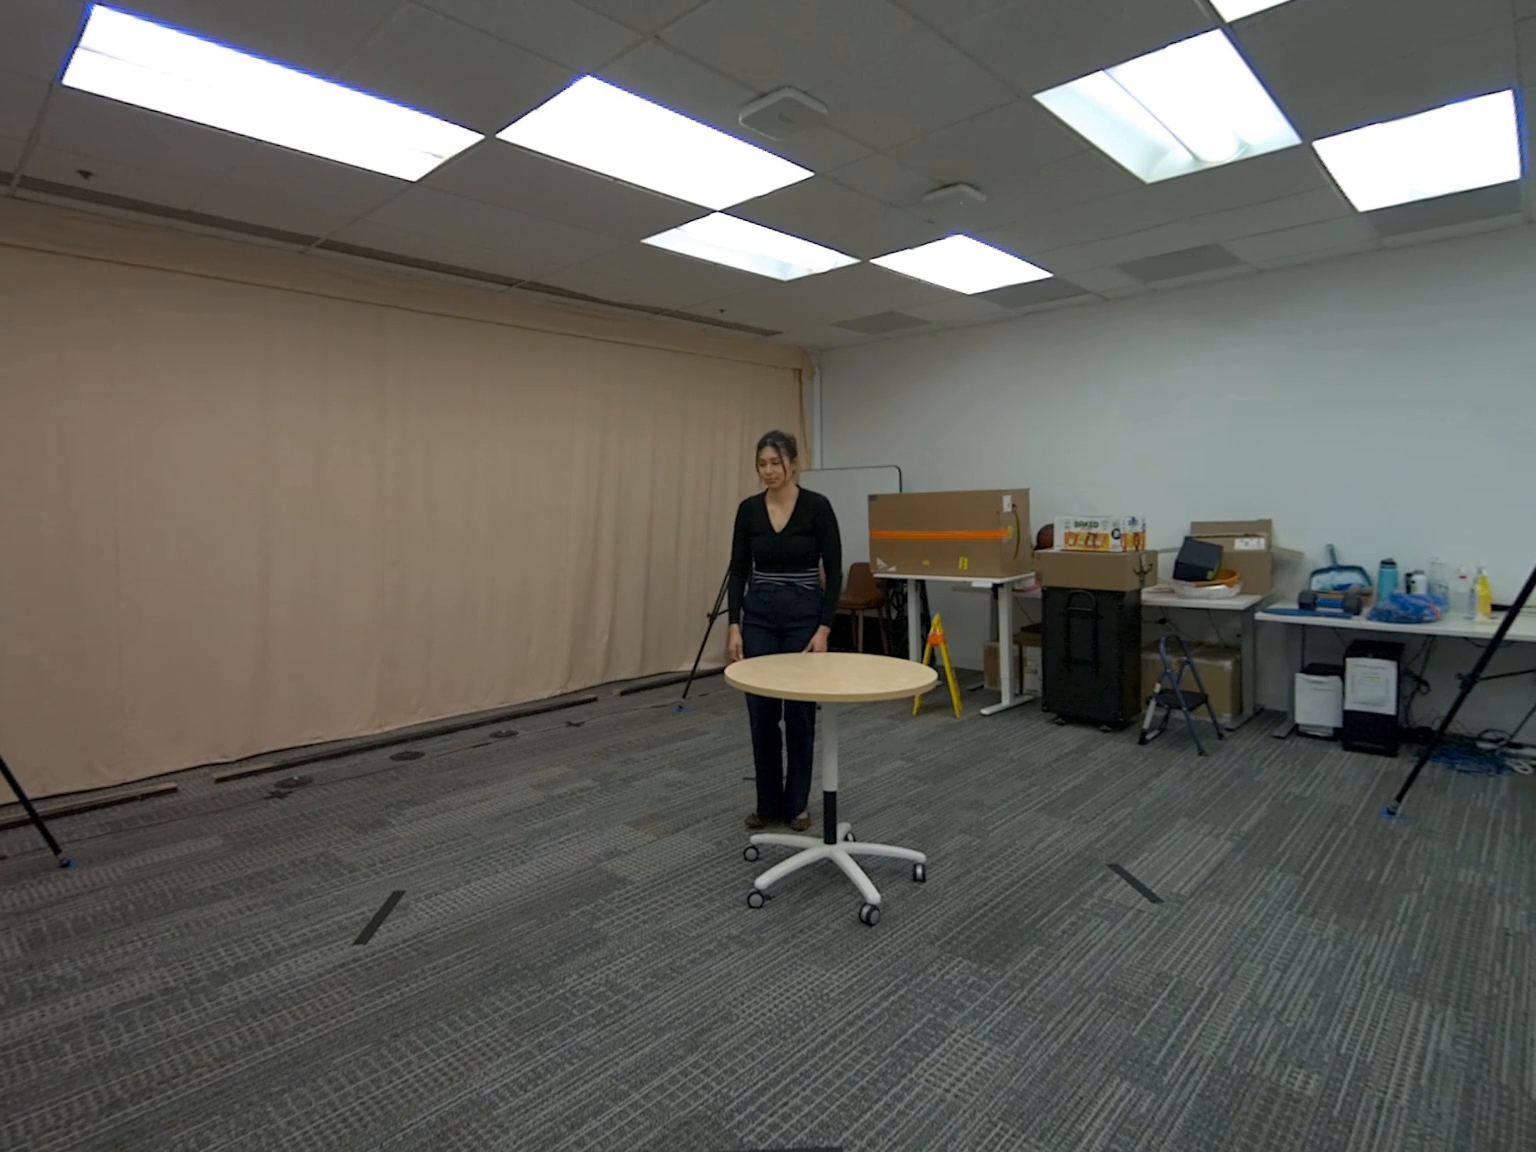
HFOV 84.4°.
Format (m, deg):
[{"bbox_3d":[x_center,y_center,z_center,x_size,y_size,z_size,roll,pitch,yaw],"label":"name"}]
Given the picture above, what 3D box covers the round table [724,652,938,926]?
[{"bbox_3d":[0.231,0.738,3.089,0.763,0.792,0.766,-1,3,-2],"label":"round table"}]
